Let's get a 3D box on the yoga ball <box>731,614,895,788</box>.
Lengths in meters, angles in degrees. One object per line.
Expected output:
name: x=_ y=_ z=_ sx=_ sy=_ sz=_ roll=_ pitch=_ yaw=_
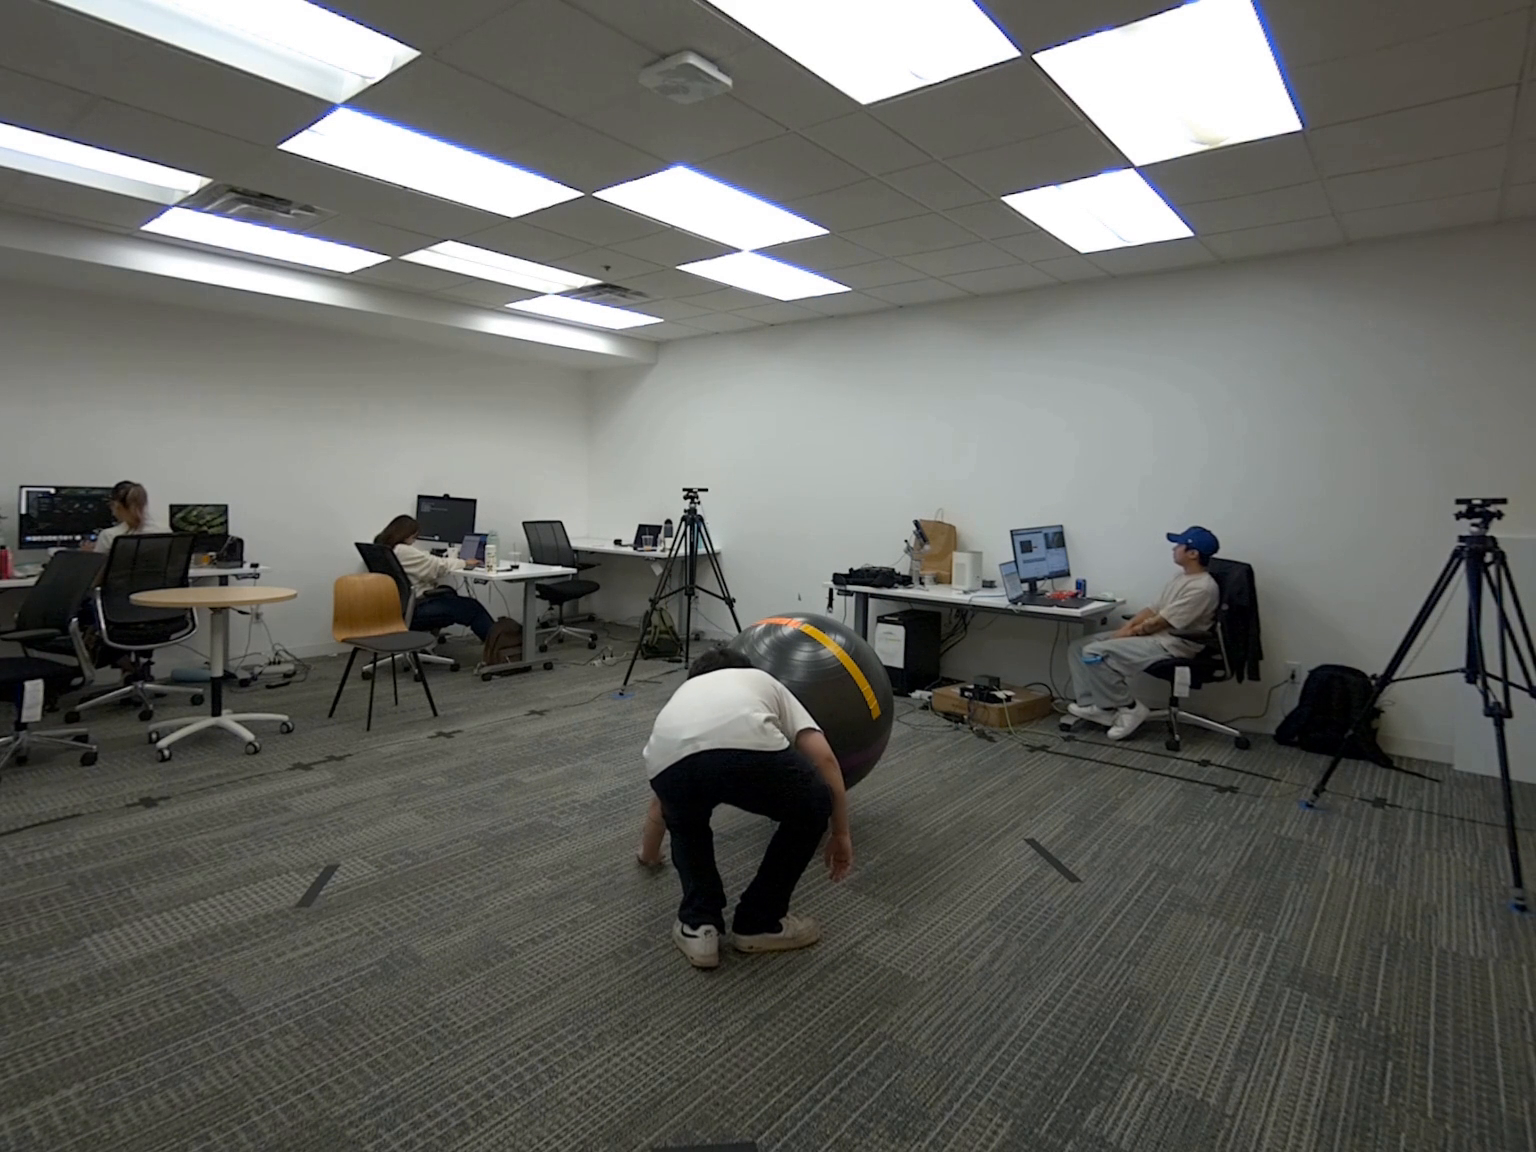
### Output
yoga ball: x=0.115 y=0.530 z=3.476 sx=0.757 sy=0.756 sz=0.761 roll=1 pitch=4 yaw=-2
